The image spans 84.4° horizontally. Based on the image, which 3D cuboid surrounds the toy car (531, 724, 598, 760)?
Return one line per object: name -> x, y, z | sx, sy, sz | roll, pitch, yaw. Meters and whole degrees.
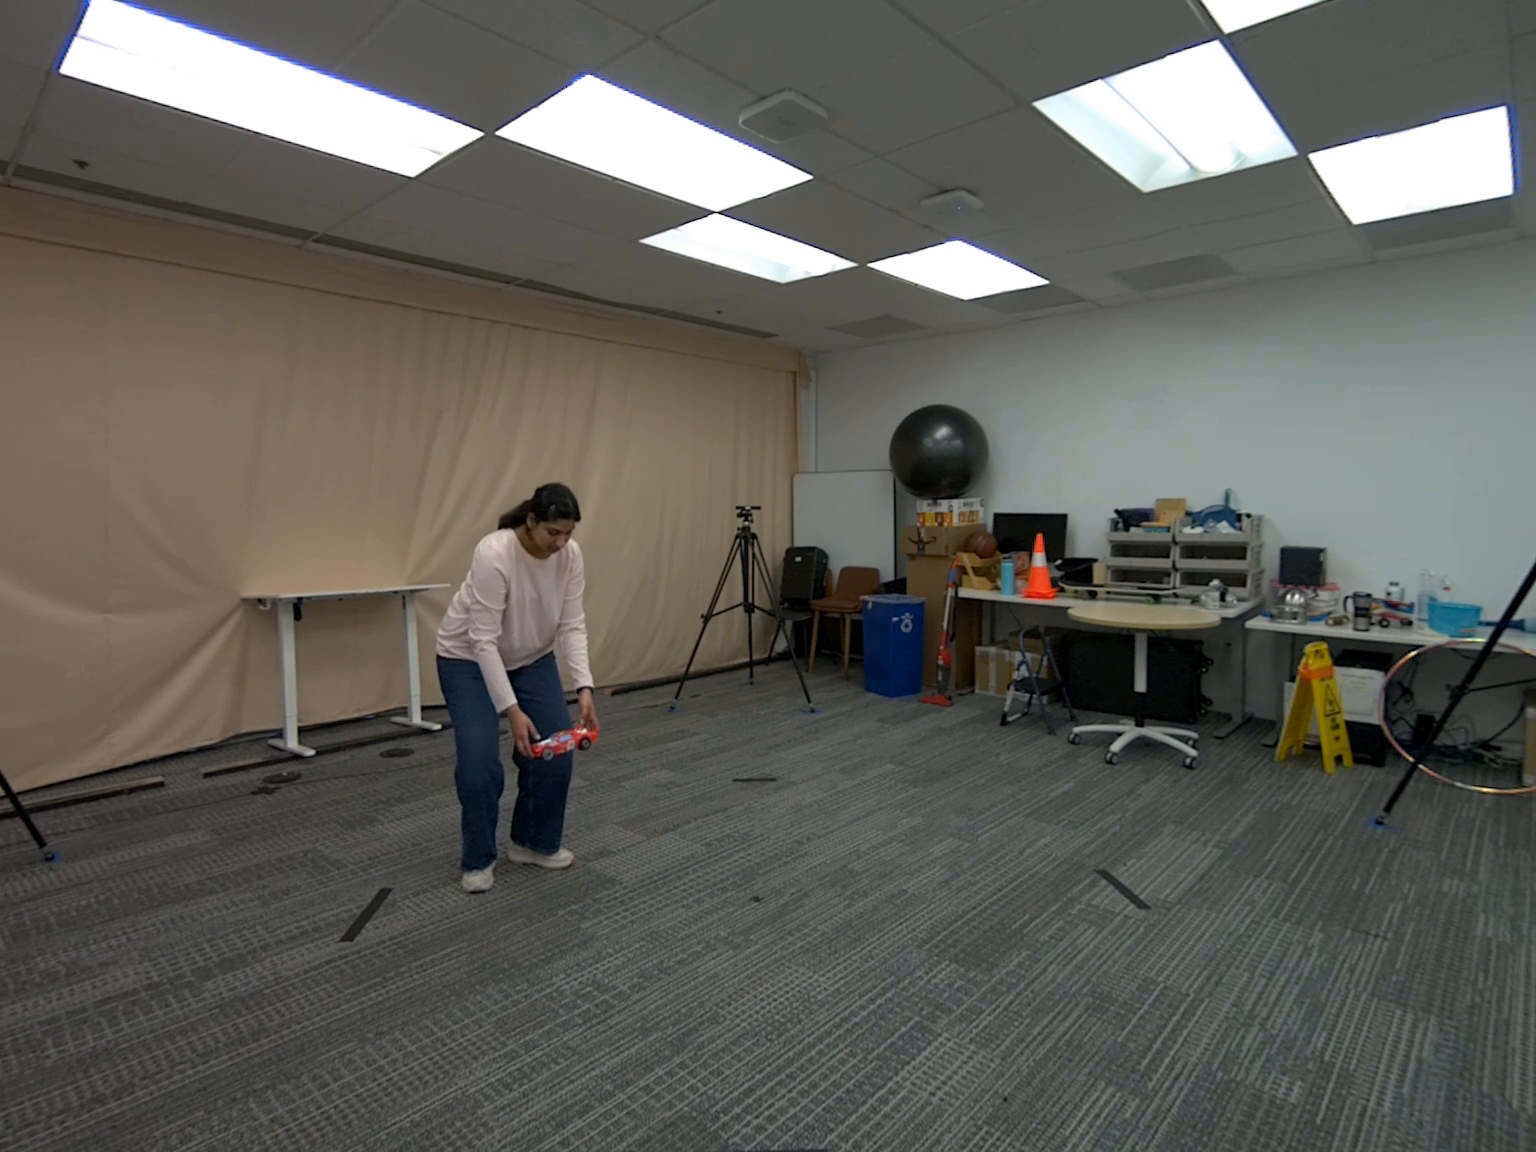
toy car -> -0.720, 0.595, 2.958 | 0.249, 0.083, 0.134 | -21, 6, -38
